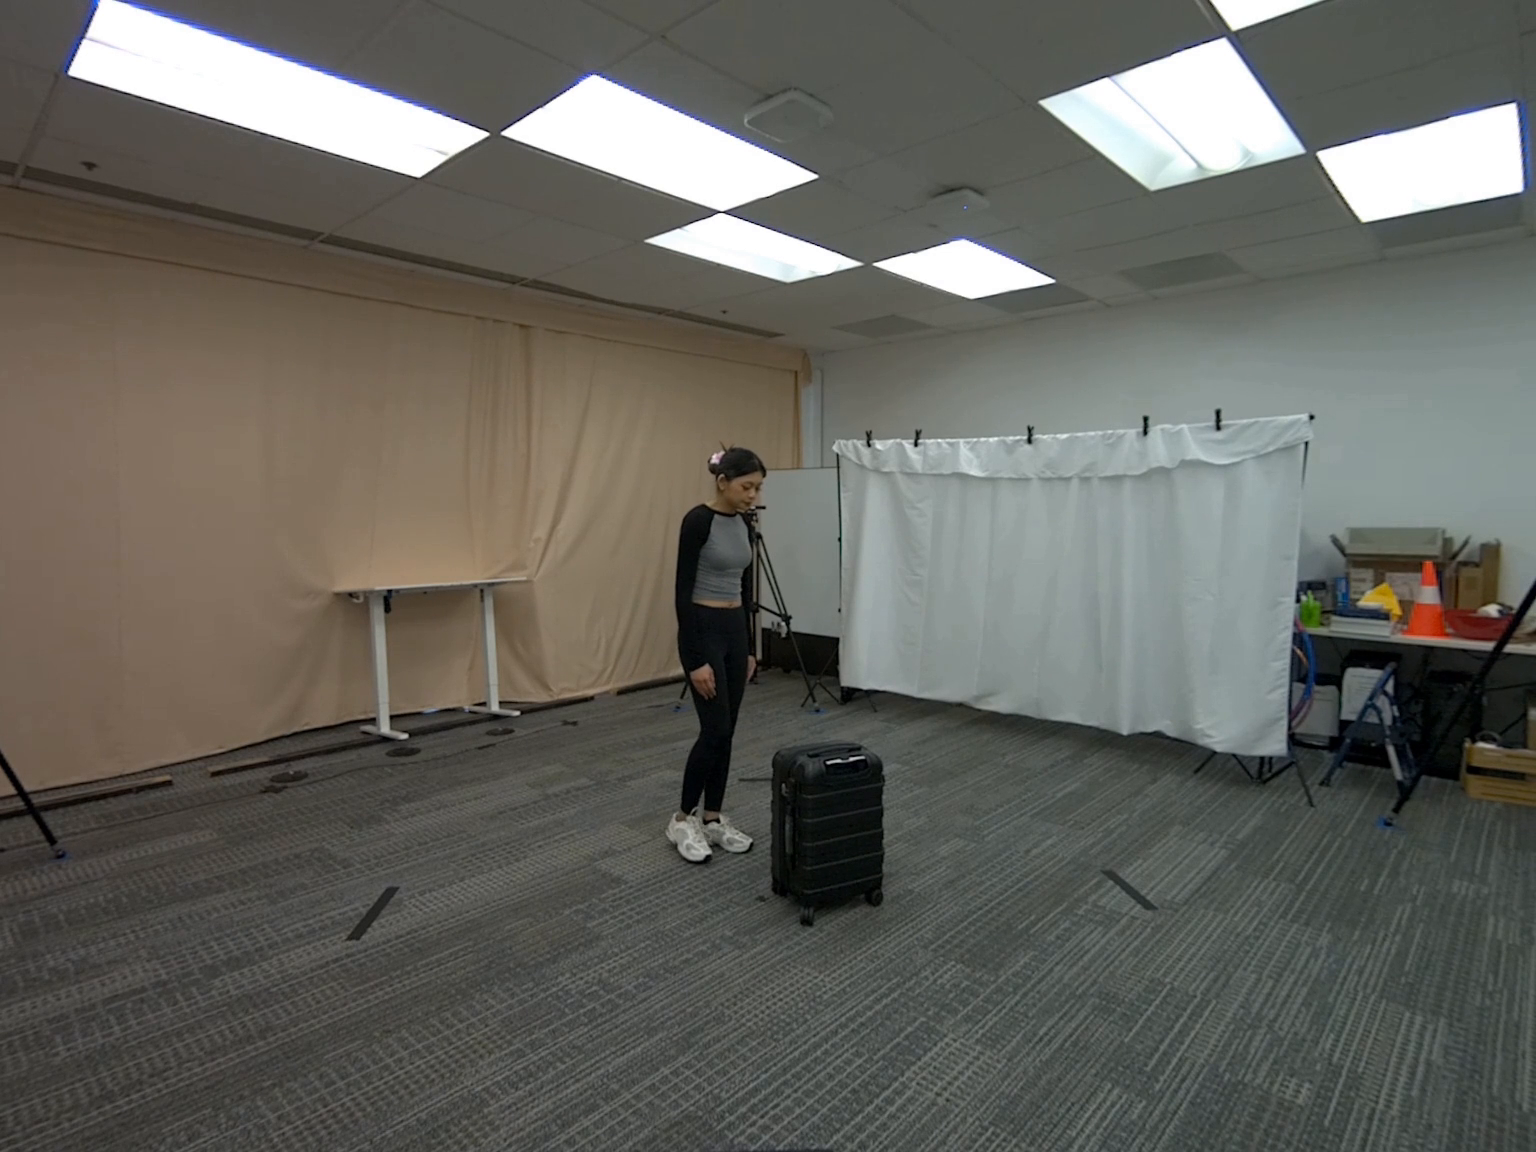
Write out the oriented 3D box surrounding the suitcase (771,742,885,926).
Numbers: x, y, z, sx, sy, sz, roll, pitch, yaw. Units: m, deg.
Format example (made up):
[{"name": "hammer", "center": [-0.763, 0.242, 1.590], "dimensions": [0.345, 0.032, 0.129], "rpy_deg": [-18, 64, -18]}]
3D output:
[{"name": "suitcase", "center": [0.206, 0.866, 2.964], "dimensions": [0.366, 0.548, 0.255], "rpy_deg": [-3, 3, -27]}]
